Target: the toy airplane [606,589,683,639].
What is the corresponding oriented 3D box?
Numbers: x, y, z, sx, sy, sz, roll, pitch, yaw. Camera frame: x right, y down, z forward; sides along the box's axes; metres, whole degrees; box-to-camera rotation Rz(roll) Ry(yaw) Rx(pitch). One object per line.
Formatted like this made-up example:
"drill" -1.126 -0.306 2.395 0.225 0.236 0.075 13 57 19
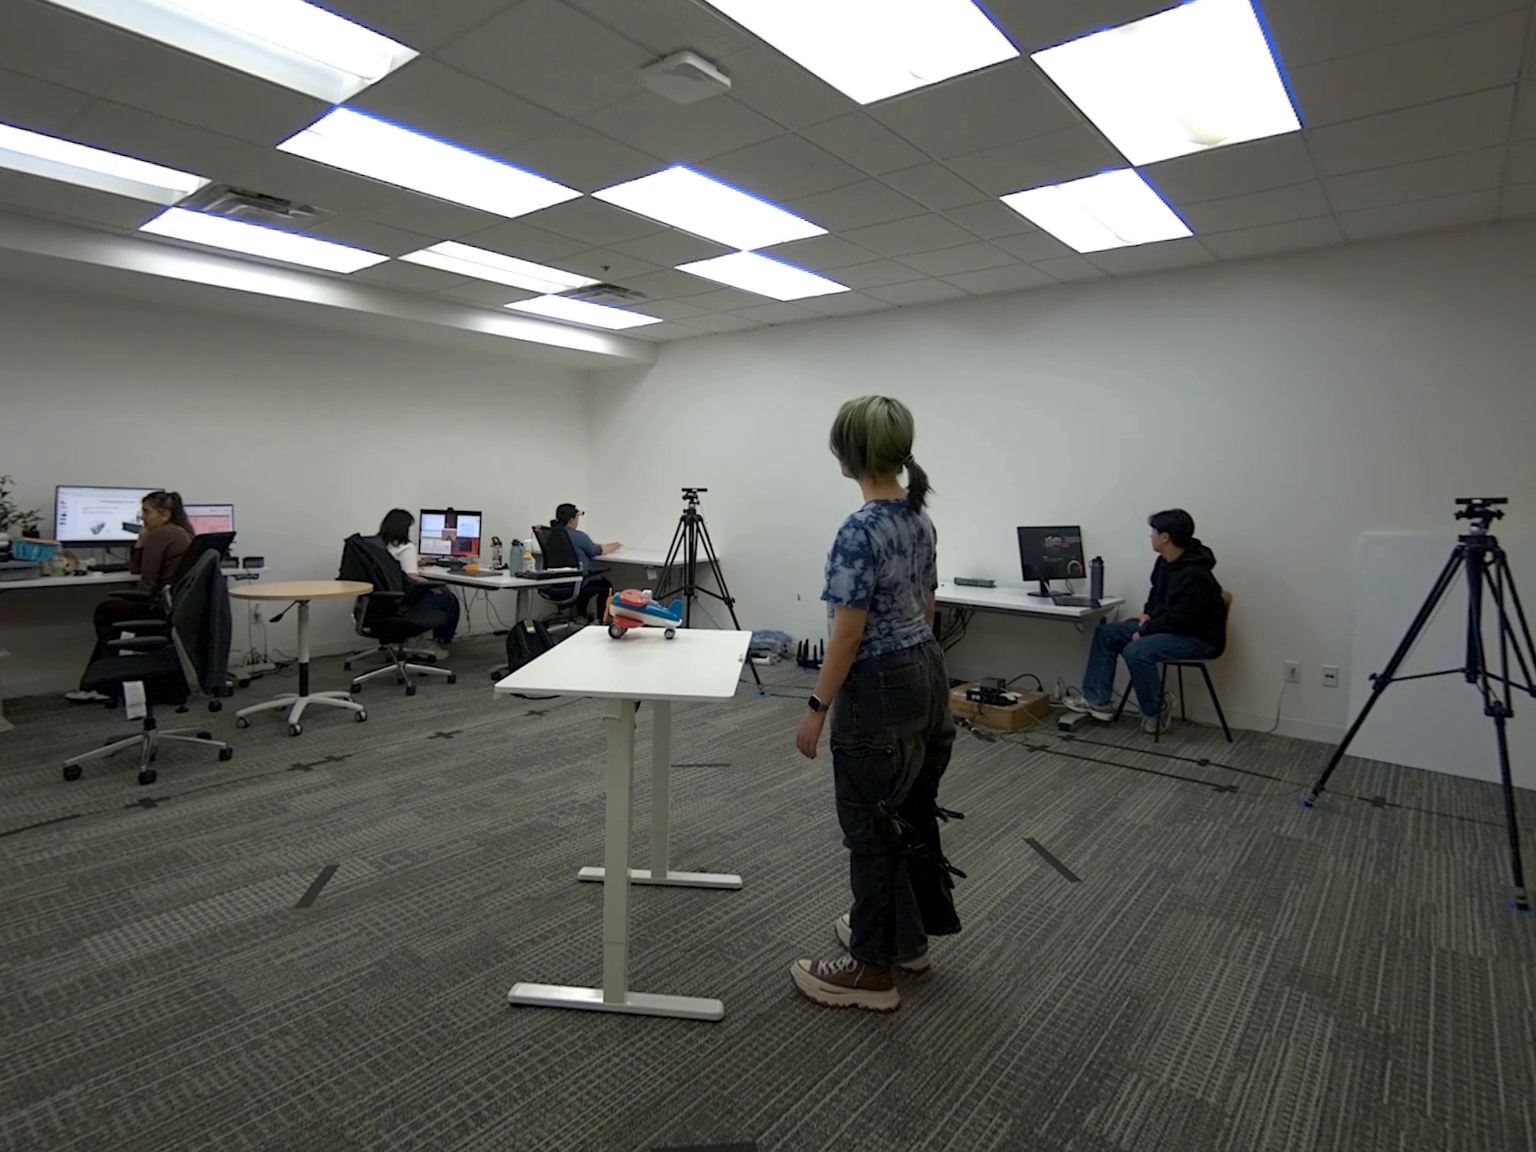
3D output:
"toy airplane" -0.435 0.129 2.905 0.253 0.156 0.258 -3 6 -27
